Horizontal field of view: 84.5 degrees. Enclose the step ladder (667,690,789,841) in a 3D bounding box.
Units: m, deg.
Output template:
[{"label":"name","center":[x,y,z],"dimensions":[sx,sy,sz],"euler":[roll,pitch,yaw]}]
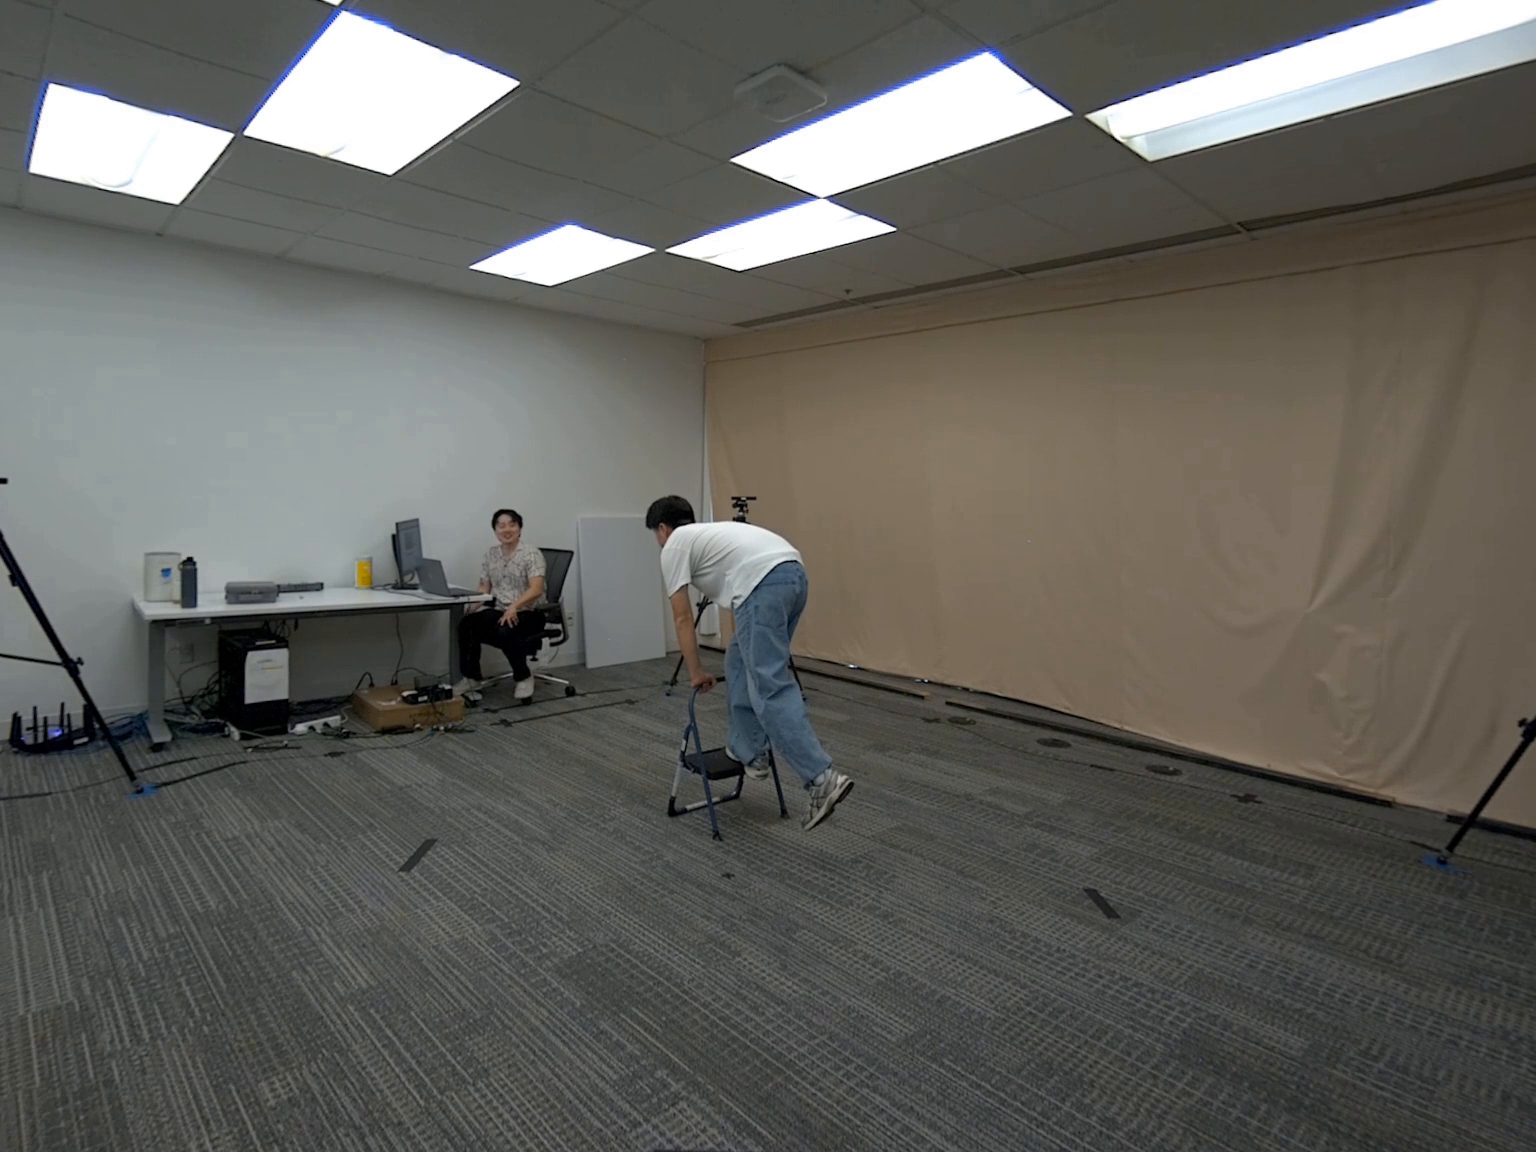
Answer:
[{"label":"step ladder","center":[-0.176,0.753,3.674],"dimensions":[0.420,0.604,0.358],"euler":[-1,5,-44]}]
